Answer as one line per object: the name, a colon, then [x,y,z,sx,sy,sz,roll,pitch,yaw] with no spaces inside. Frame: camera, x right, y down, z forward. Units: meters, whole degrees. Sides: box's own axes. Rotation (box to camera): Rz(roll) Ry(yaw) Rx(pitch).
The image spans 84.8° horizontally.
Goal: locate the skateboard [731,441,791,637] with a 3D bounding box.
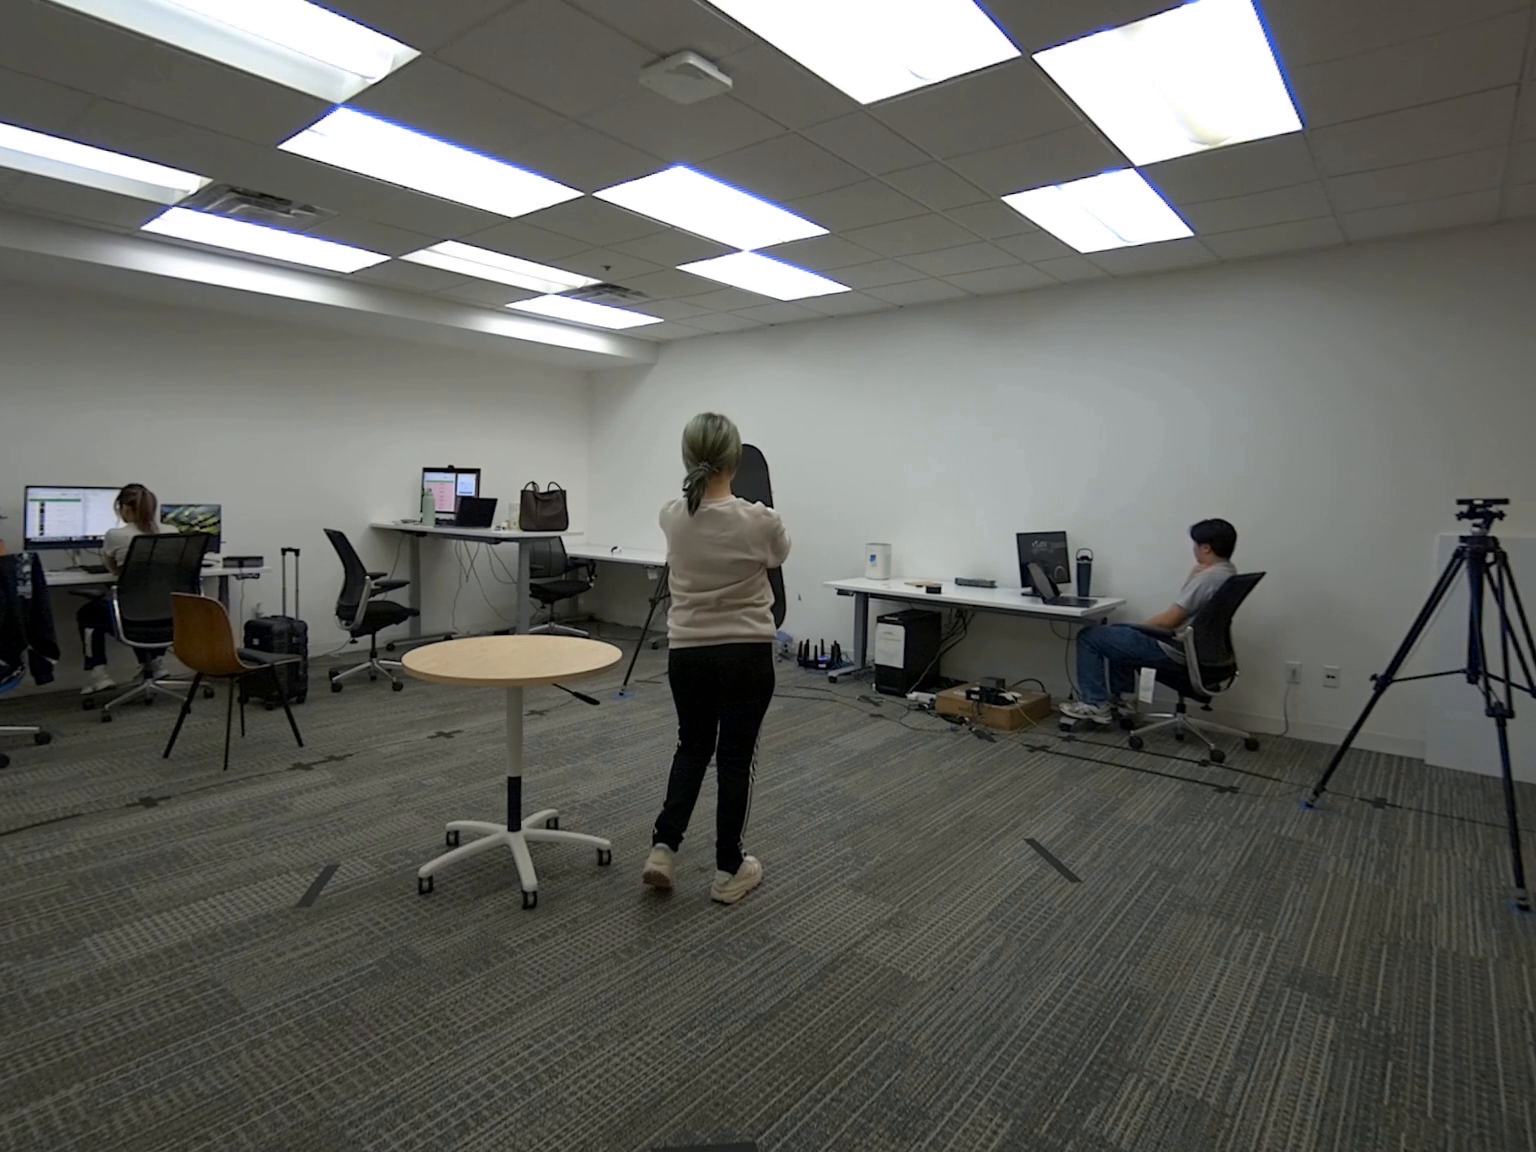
skateboard: [-0.075,-0.145,3.367,0.194,0.801,0.107,-11,-18,6]
